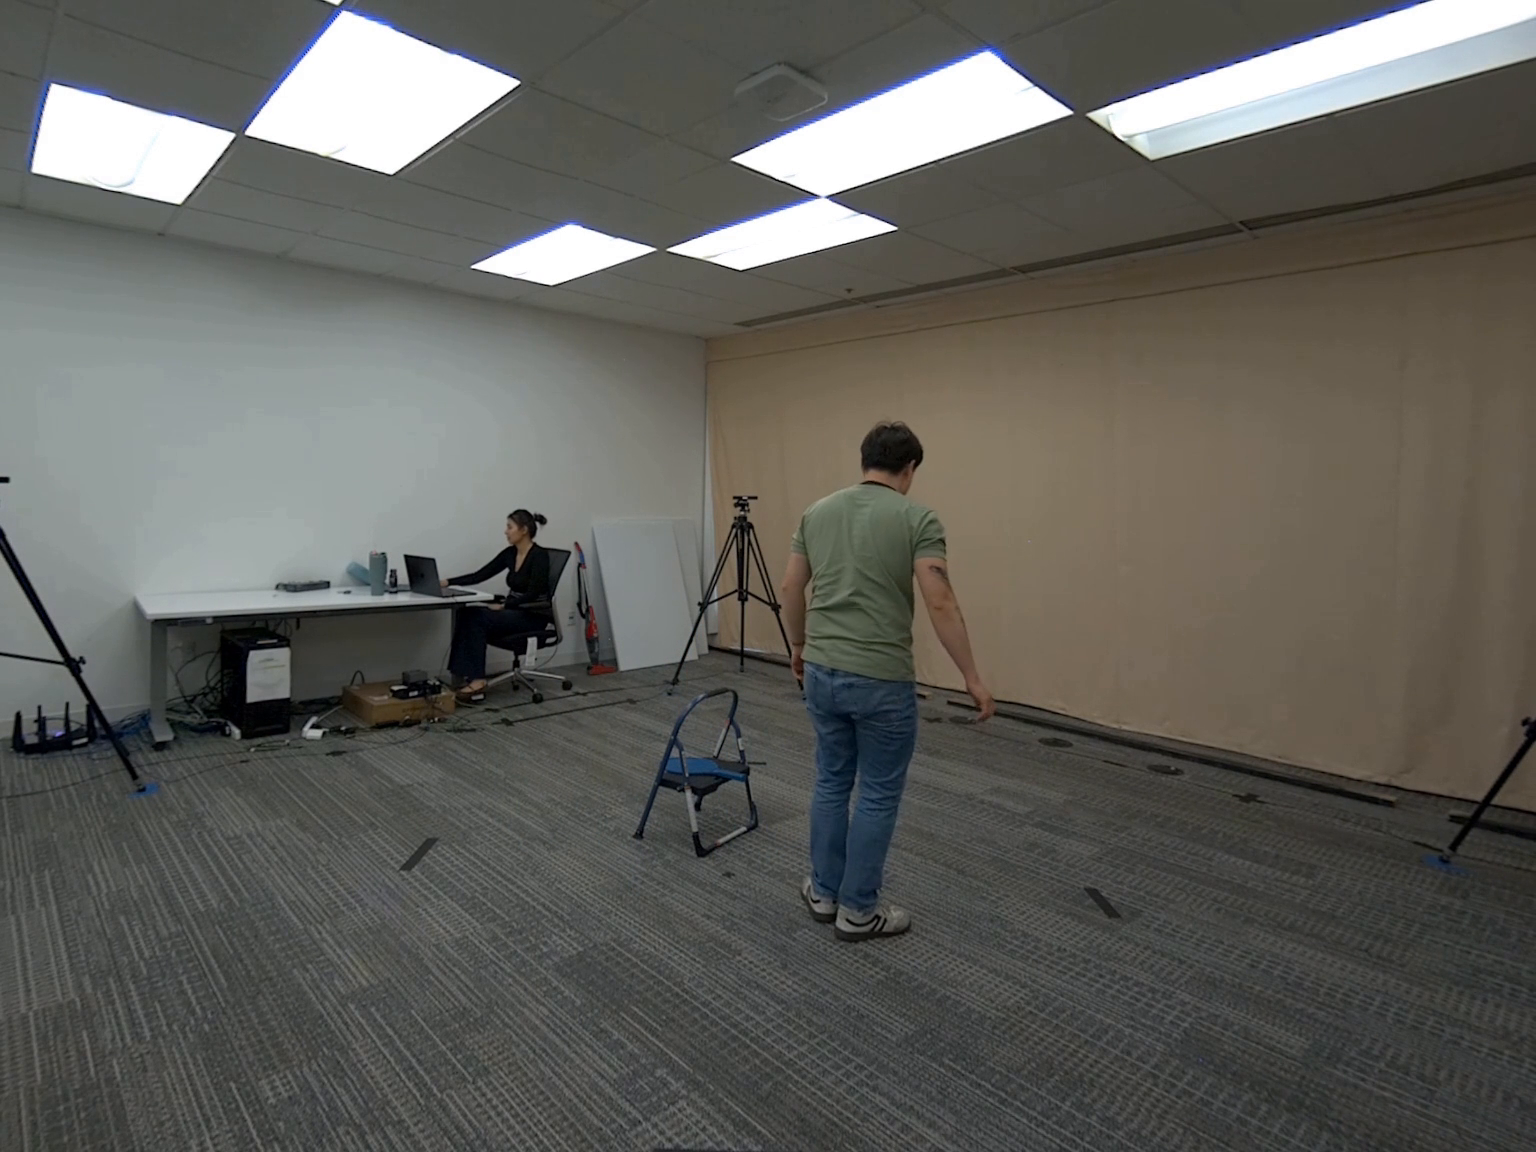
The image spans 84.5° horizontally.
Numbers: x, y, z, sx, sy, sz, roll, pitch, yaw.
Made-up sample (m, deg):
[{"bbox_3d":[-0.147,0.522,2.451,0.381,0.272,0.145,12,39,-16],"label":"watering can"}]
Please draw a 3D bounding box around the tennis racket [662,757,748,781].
[{"bbox_3d":[-0.282,0.796,3.481,0.443,0.032,0.209,2,5,36],"label":"tennis racket"}]
